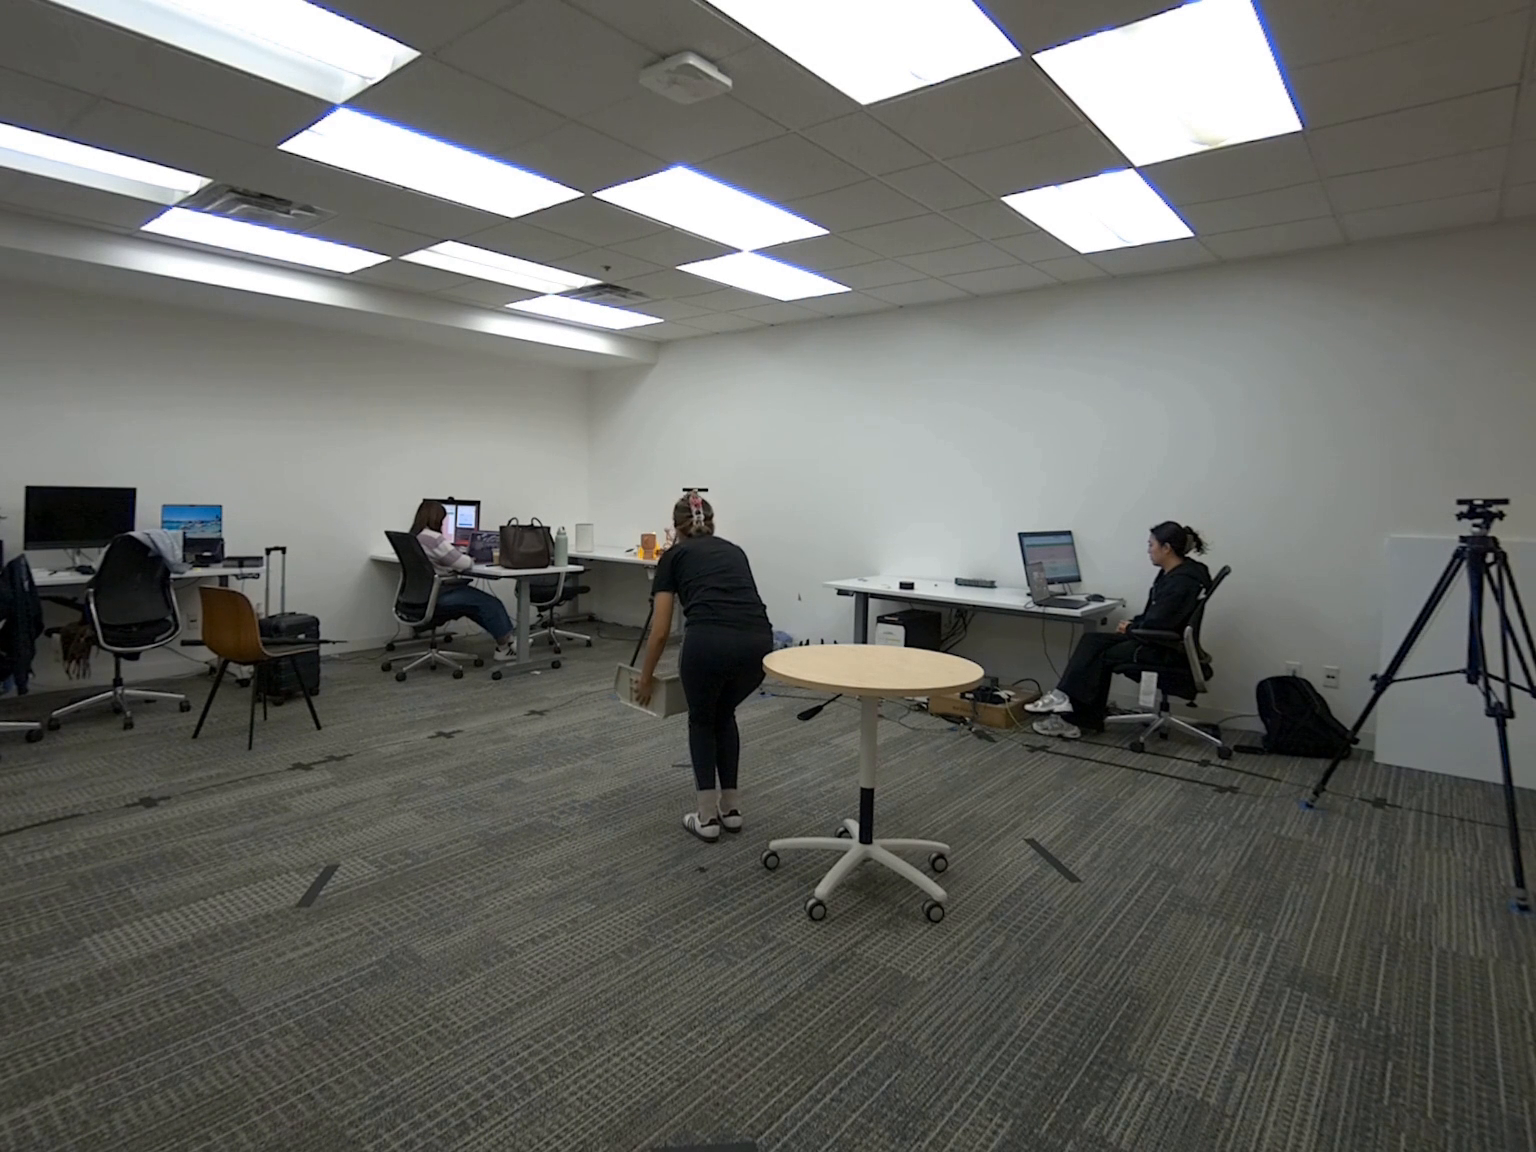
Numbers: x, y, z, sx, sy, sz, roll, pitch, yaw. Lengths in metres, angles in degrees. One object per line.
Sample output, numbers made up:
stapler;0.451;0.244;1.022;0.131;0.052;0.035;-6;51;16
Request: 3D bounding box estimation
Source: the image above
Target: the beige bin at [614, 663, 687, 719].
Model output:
beige bin;-0.439;0.483;3.859;0.410;0.188;0.391;-5;11;-43
